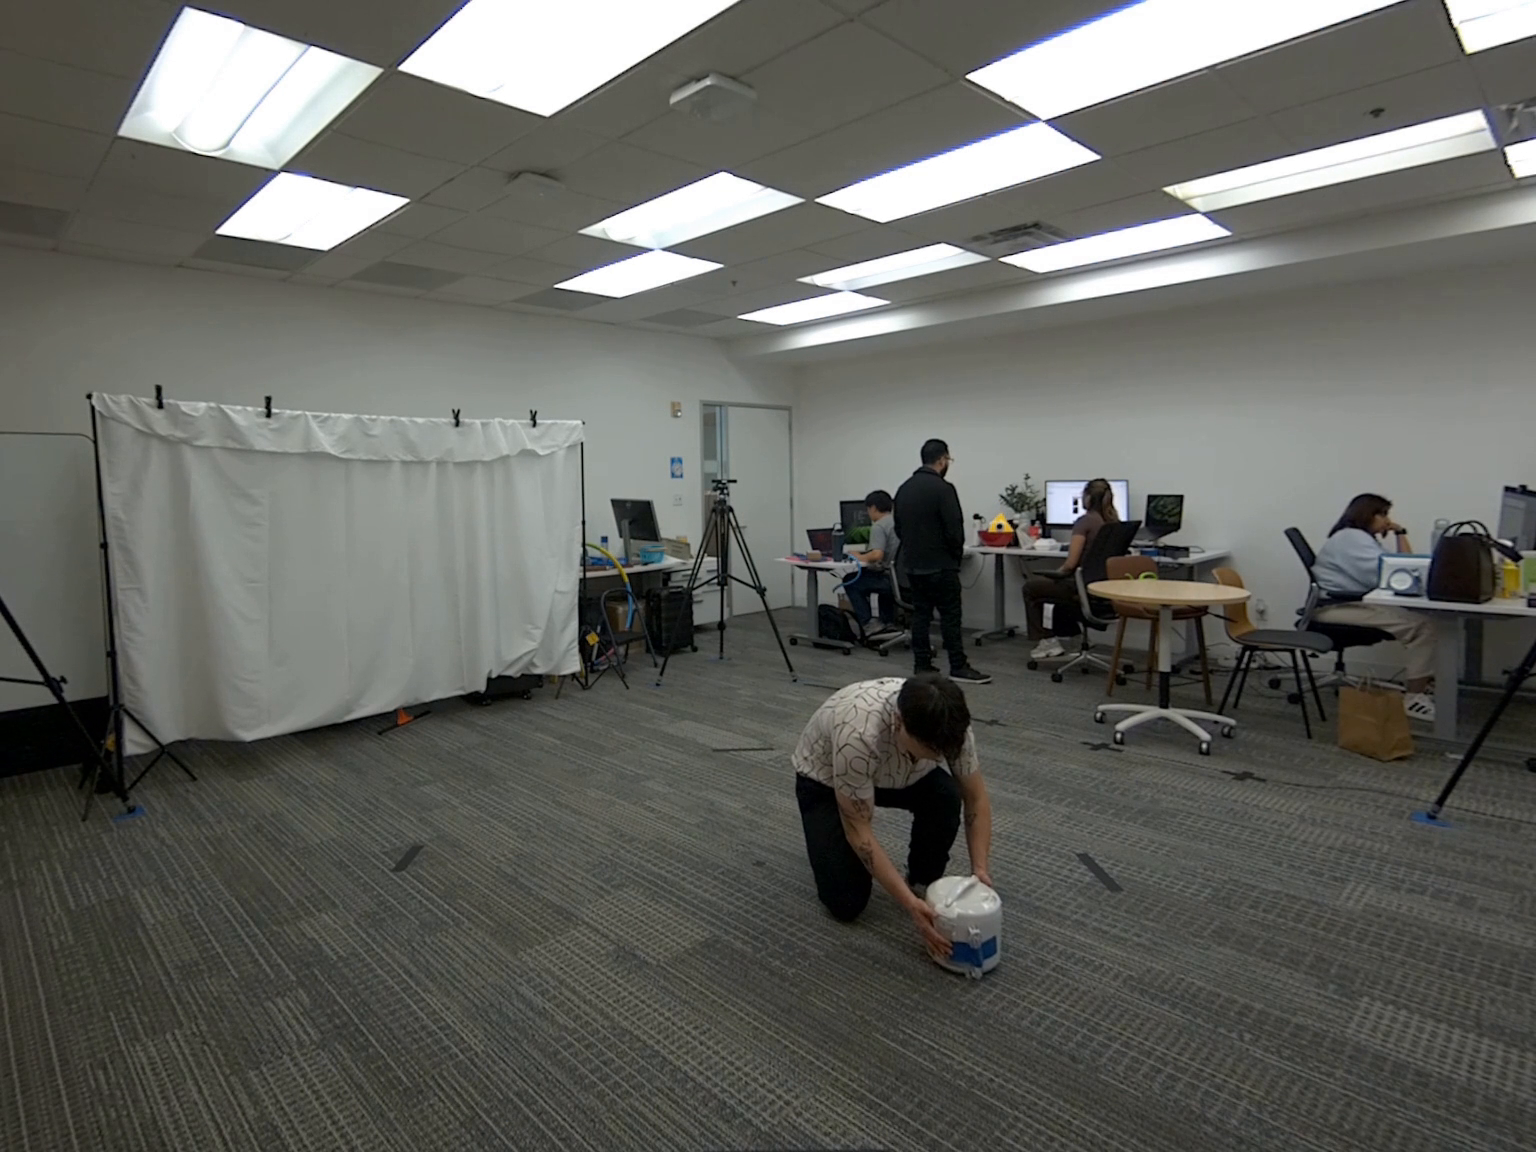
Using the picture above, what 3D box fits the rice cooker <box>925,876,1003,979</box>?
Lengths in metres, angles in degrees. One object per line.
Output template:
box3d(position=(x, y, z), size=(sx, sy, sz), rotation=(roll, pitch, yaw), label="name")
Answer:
box3d(position=(0.551, 0.989, 2.462), size=(0.224, 0.231, 0.215), rotation=(6, 9, 42), label="rice cooker")
